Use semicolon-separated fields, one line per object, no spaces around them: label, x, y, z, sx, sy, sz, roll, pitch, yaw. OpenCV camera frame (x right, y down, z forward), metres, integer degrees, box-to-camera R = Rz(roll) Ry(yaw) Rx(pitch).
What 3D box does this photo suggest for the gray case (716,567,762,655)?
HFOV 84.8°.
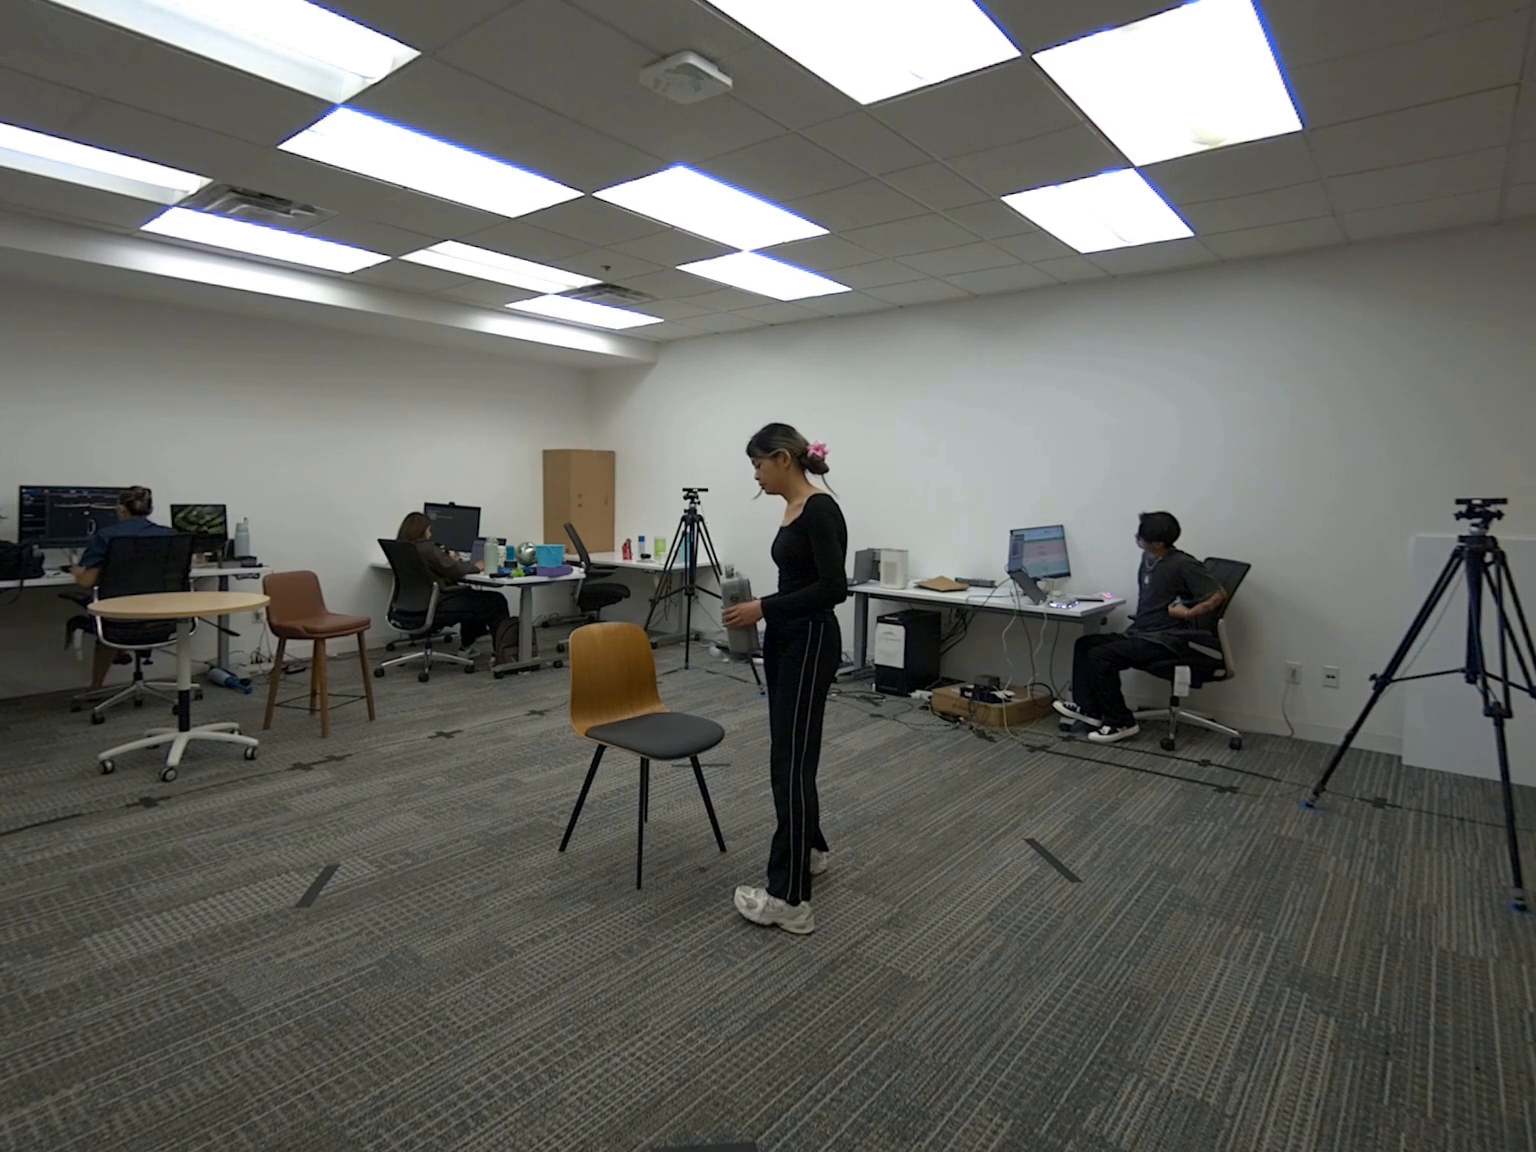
gray case;-0.105;0.112;2.907;0.104;0.260;0.258;-11;2;-2
